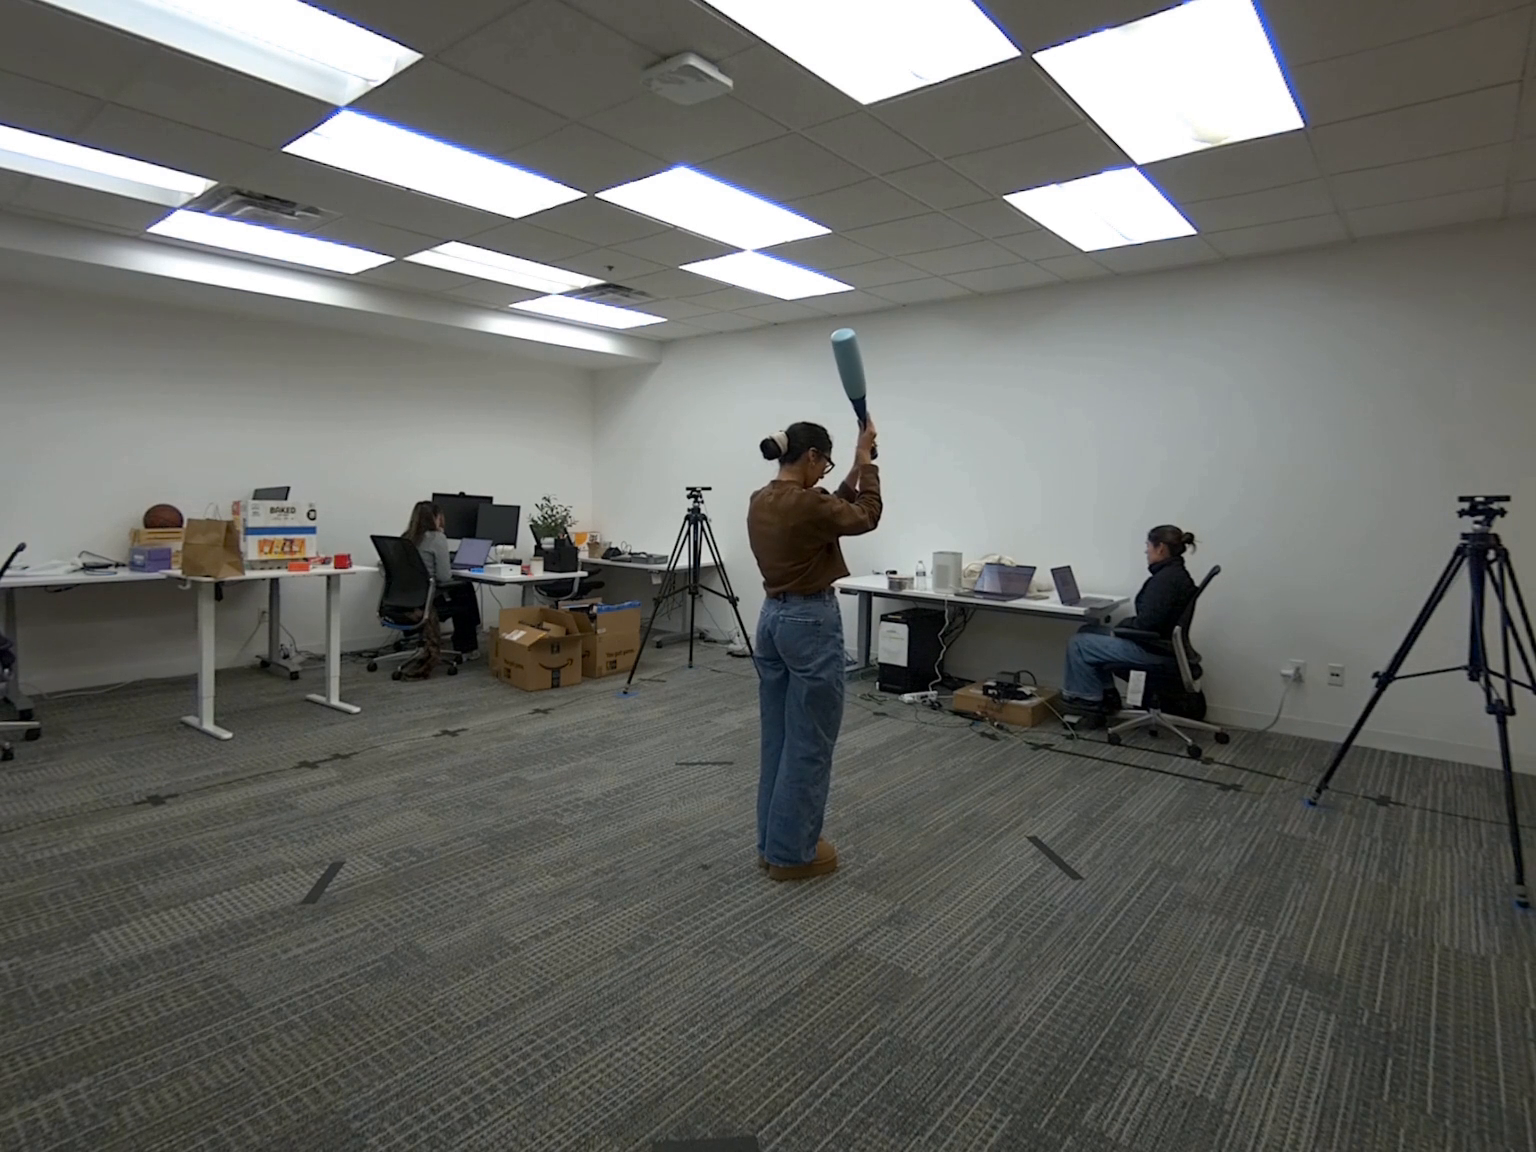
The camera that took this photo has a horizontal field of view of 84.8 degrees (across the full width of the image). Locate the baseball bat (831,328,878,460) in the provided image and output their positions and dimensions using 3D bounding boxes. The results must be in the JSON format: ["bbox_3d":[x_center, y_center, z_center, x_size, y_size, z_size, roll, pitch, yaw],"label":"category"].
[{"bbox_3d":[0.318,-0.645,3.067,0.090,0.523,0.091,-13,39,9],"label":"baseball bat"}]
